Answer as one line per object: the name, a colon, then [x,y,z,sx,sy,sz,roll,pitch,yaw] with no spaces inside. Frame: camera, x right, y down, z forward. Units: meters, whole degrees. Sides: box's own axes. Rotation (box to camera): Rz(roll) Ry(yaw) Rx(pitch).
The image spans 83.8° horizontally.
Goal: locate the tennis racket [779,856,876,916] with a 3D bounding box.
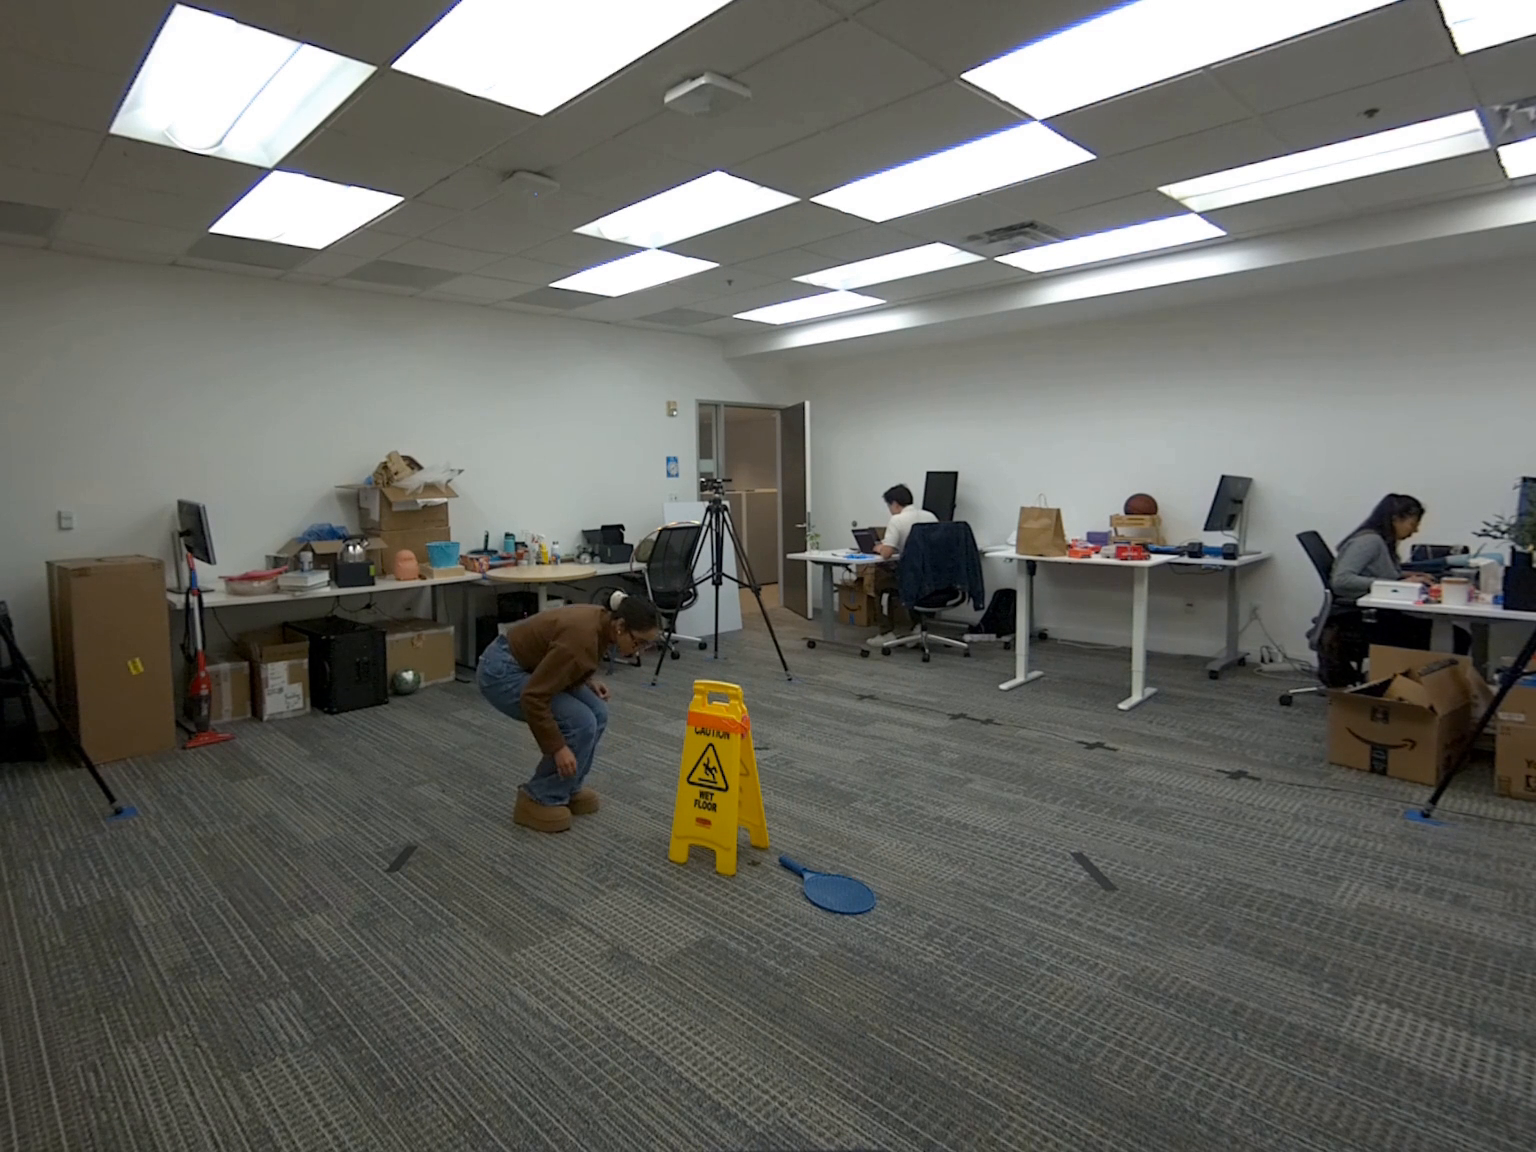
tennis racket: [0.185,1.048,2.919,0.208,0.031,0.446,-7,10,-38]
